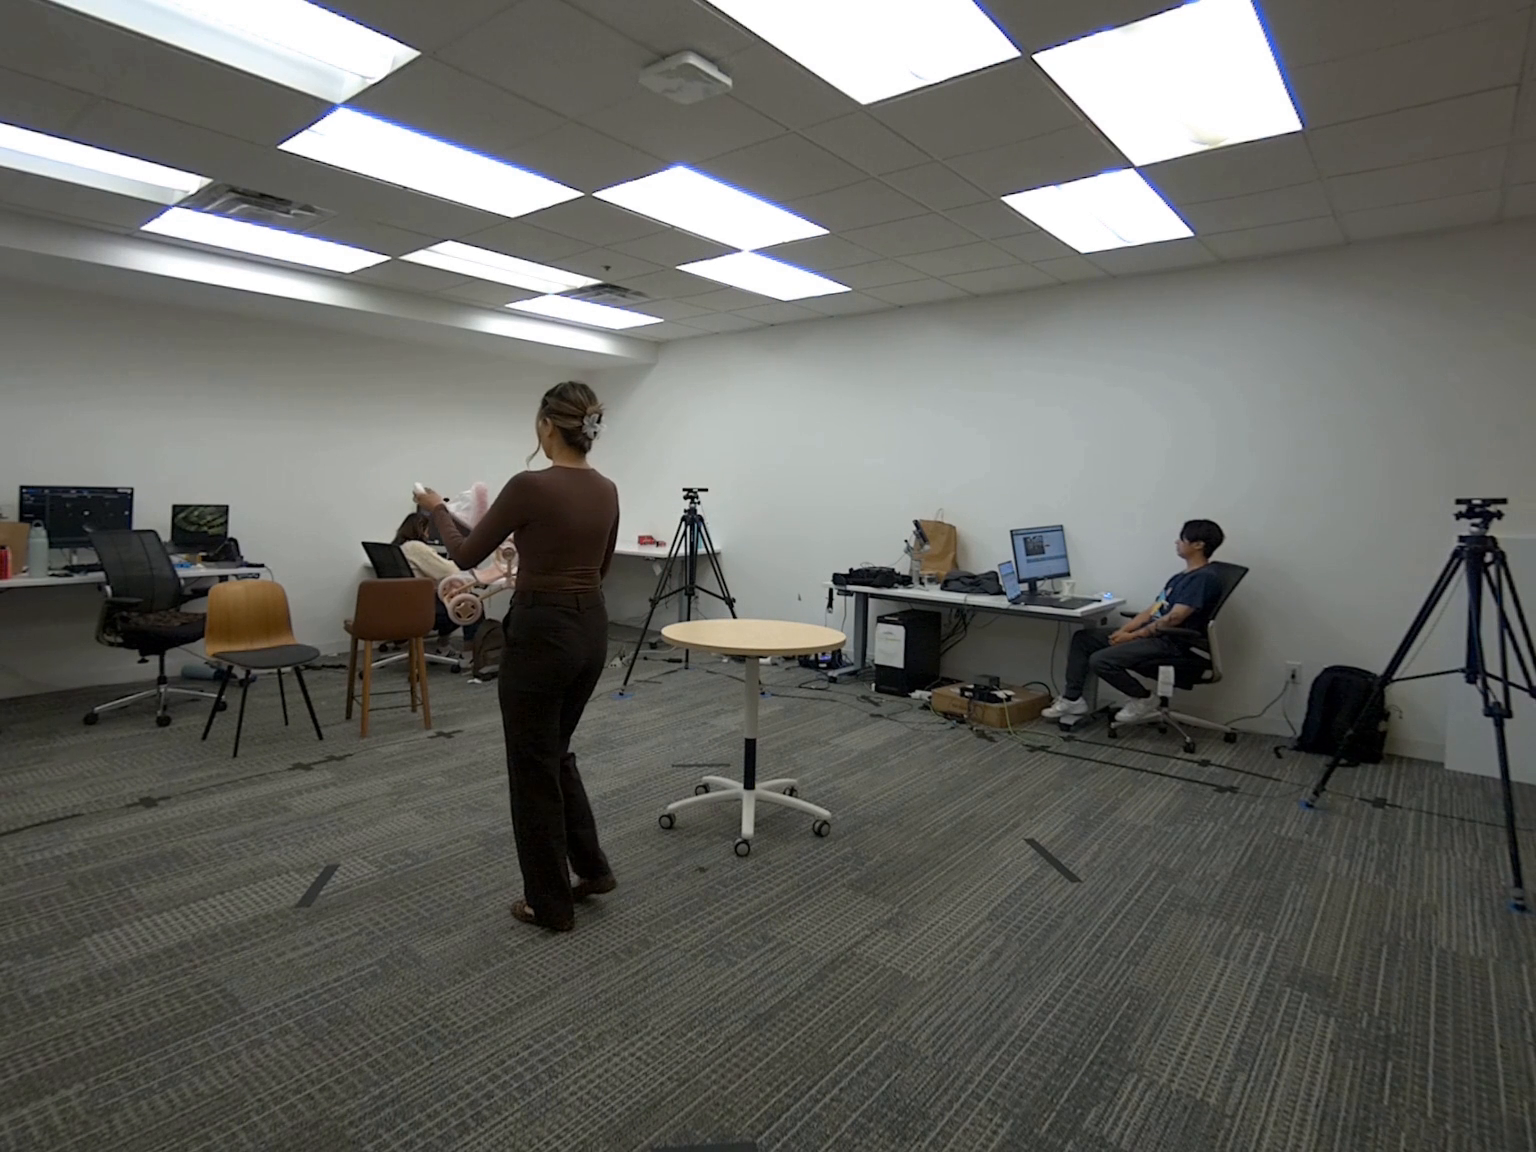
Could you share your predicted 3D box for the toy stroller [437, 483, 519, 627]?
[{"bbox_3d":[-1.005,-0.090,2.973,0.336,0.526,0.290,-13,17,-20],"label":"toy stroller"}]
